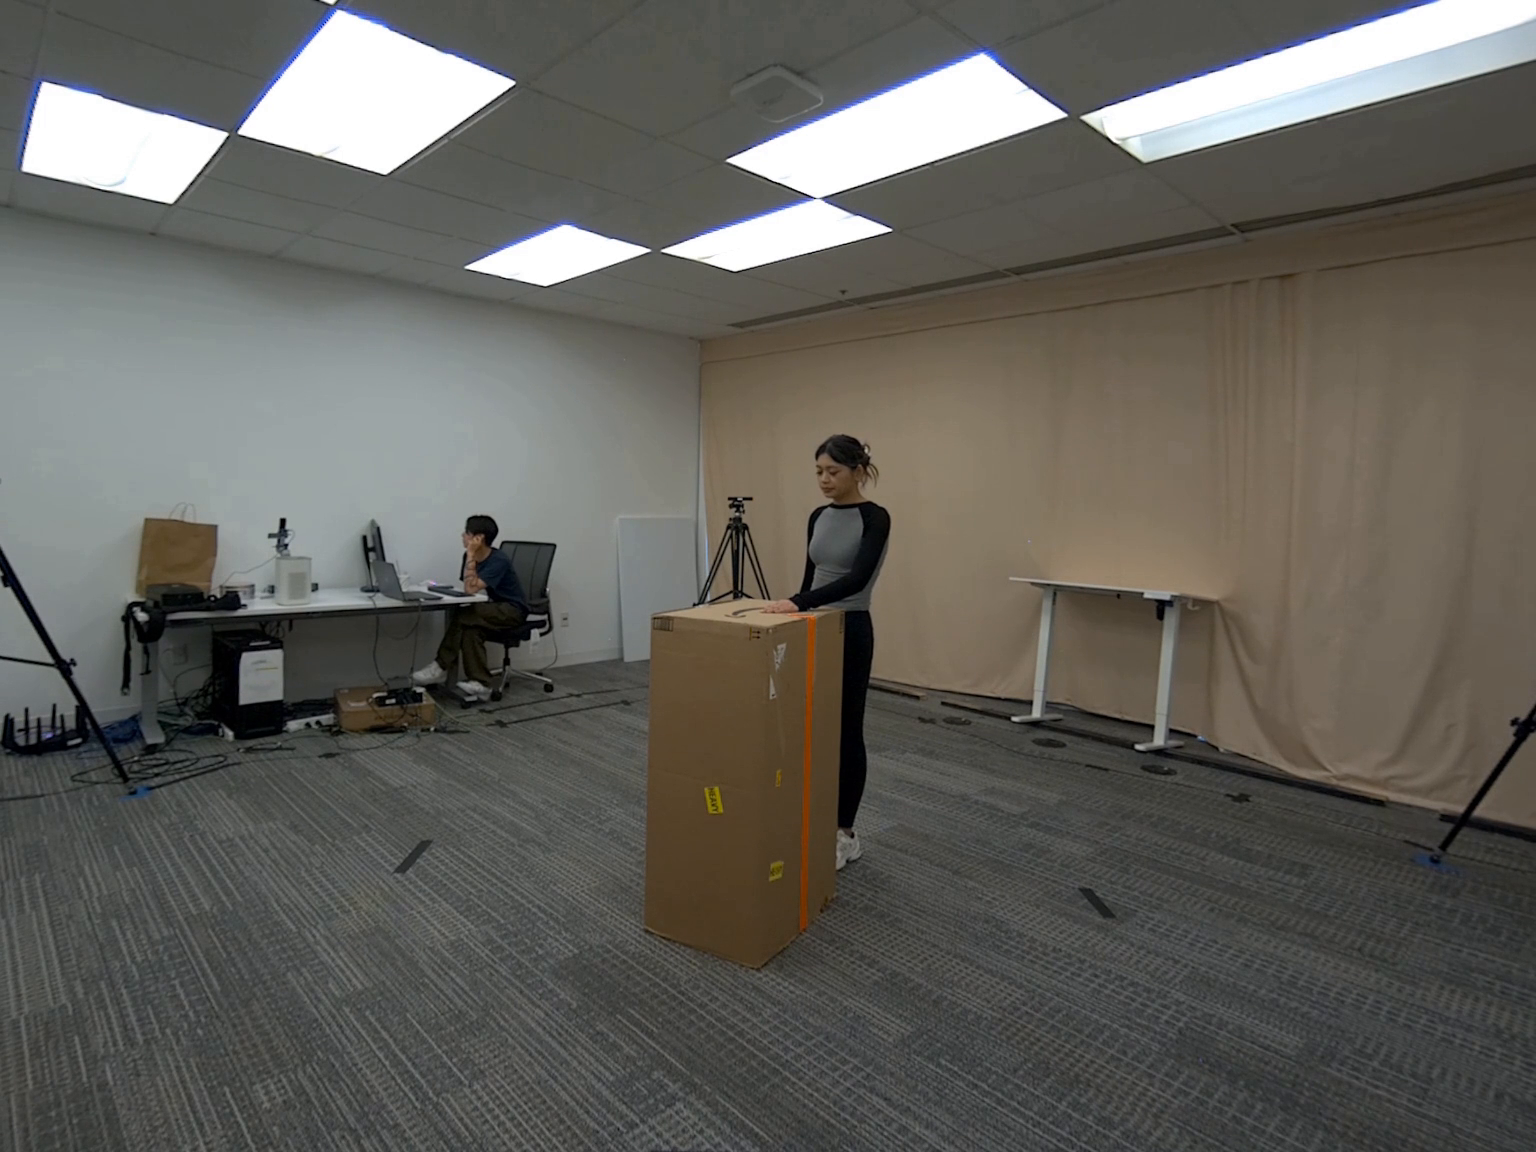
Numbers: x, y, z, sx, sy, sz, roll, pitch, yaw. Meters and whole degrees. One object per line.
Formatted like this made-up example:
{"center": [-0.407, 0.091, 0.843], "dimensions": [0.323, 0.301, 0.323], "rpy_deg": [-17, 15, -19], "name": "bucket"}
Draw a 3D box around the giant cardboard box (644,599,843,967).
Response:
{"center": [-0.070, 0.631, 2.804], "dimensions": [0.456, 1.025, 0.573], "rpy_deg": [2, 3, 29], "name": "giant cardboard box"}
